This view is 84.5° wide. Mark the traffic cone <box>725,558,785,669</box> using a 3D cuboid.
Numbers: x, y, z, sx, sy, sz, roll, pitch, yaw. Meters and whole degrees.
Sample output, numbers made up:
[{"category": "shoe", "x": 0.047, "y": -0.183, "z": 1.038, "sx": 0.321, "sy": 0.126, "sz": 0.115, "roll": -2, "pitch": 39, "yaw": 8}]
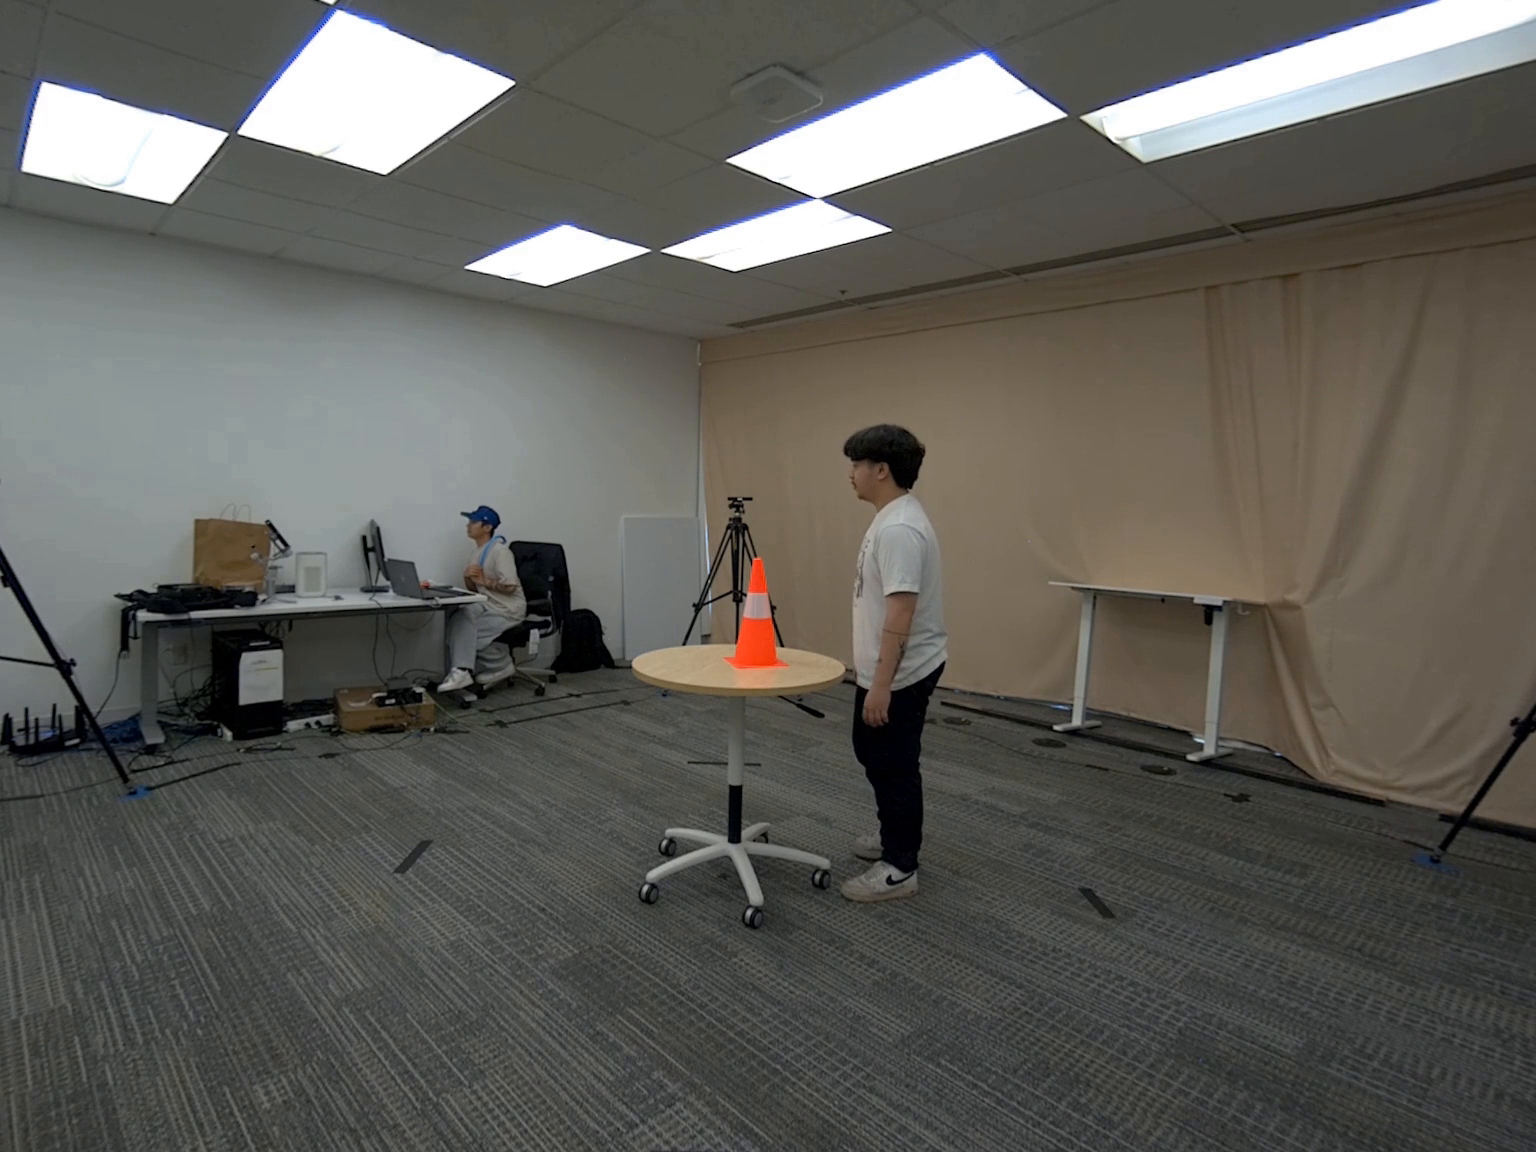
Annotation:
[{"category": "traffic cone", "x": -0.037, "y": 0.131, "z": 3.058, "sx": 0.200, "sy": 0.382, "sz": 0.209, "roll": -1, "pitch": 6, "yaw": -22}]
